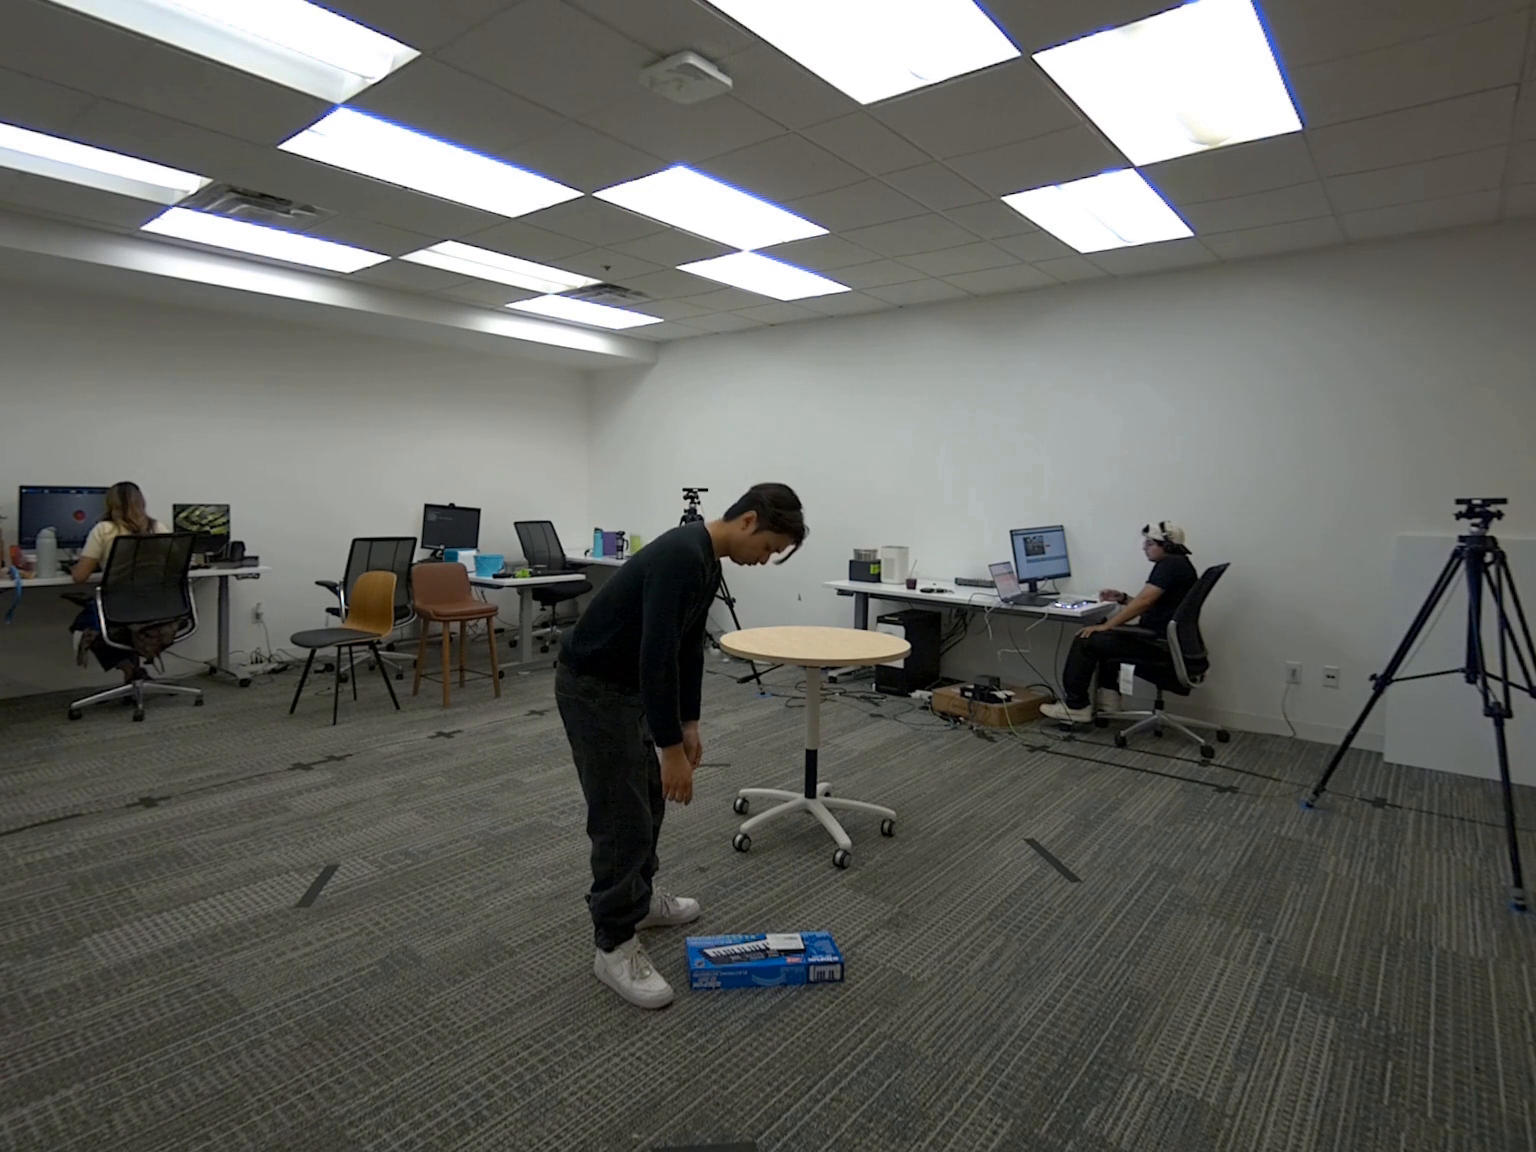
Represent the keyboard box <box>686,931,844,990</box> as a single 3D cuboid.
[{"bbox_3d":[-0.021,1.109,2.467,0.433,0.059,0.178,0,6,-8],"label":"keyboard box"}]
